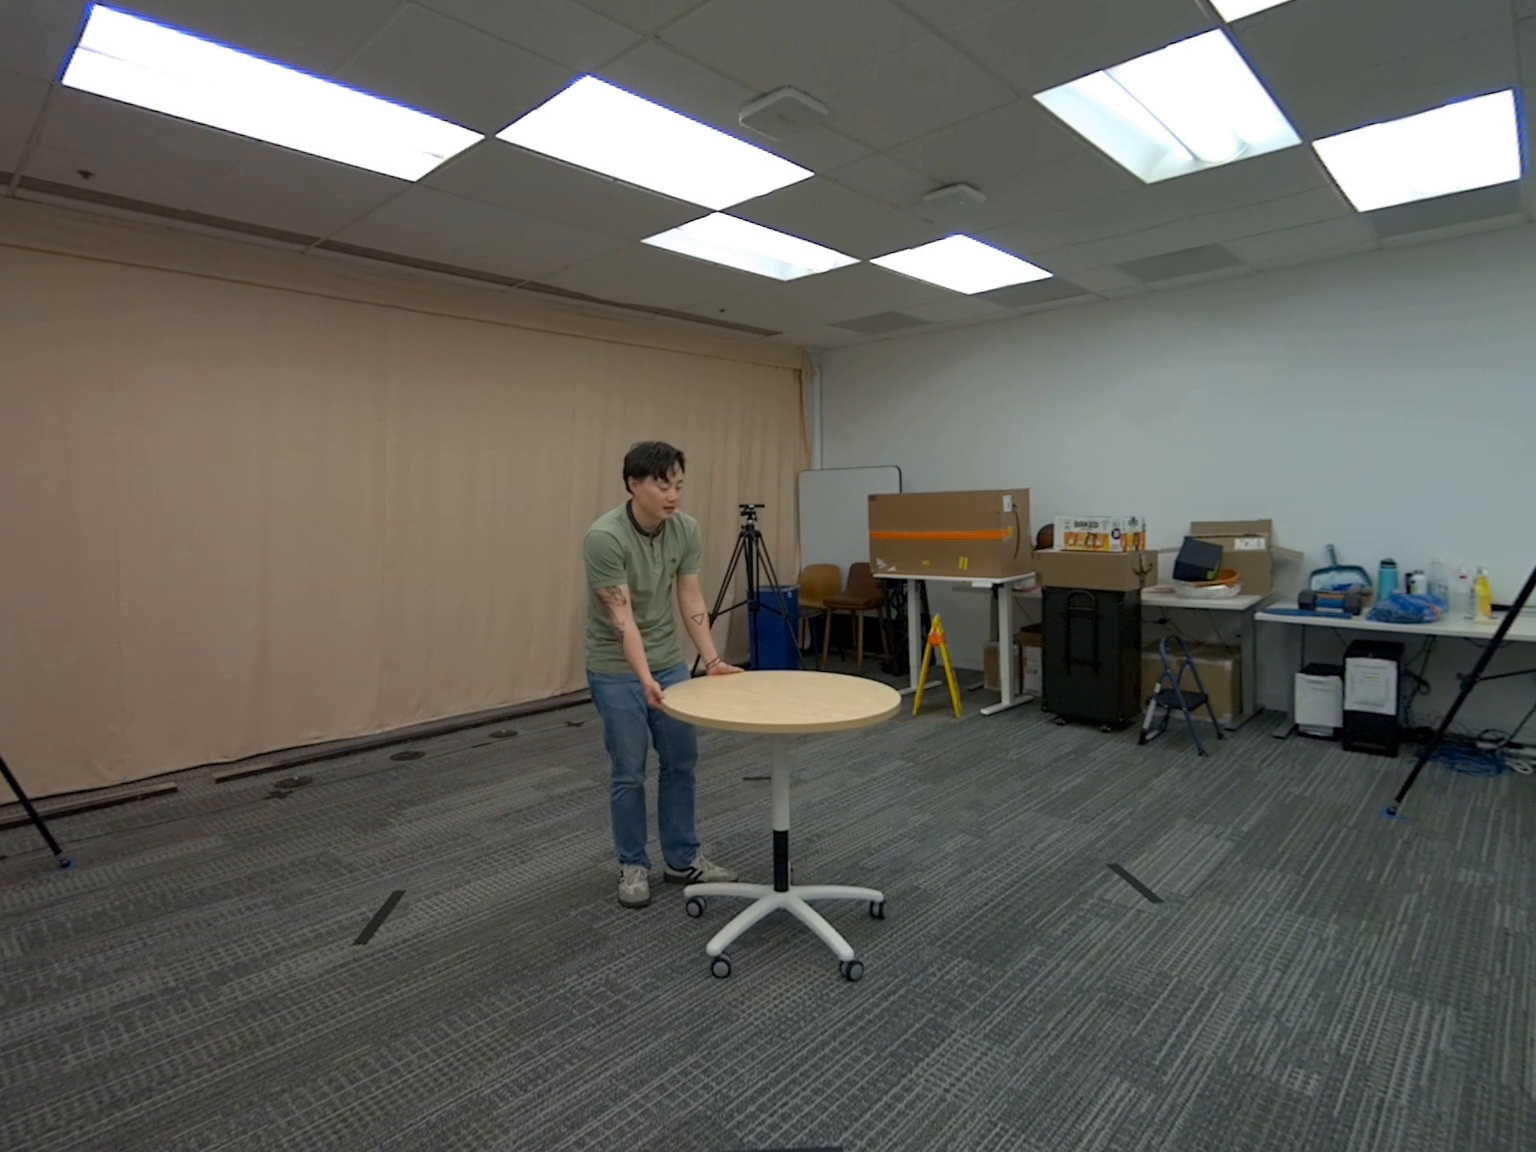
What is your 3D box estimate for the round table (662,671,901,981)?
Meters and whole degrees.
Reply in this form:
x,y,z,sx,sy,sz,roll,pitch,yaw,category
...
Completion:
x,y,z,sx,sy,sz,roll,pitch,yaw,category
0.050,0.774,2.720,0.763,0.792,0.767,-1,4,-2,round table
